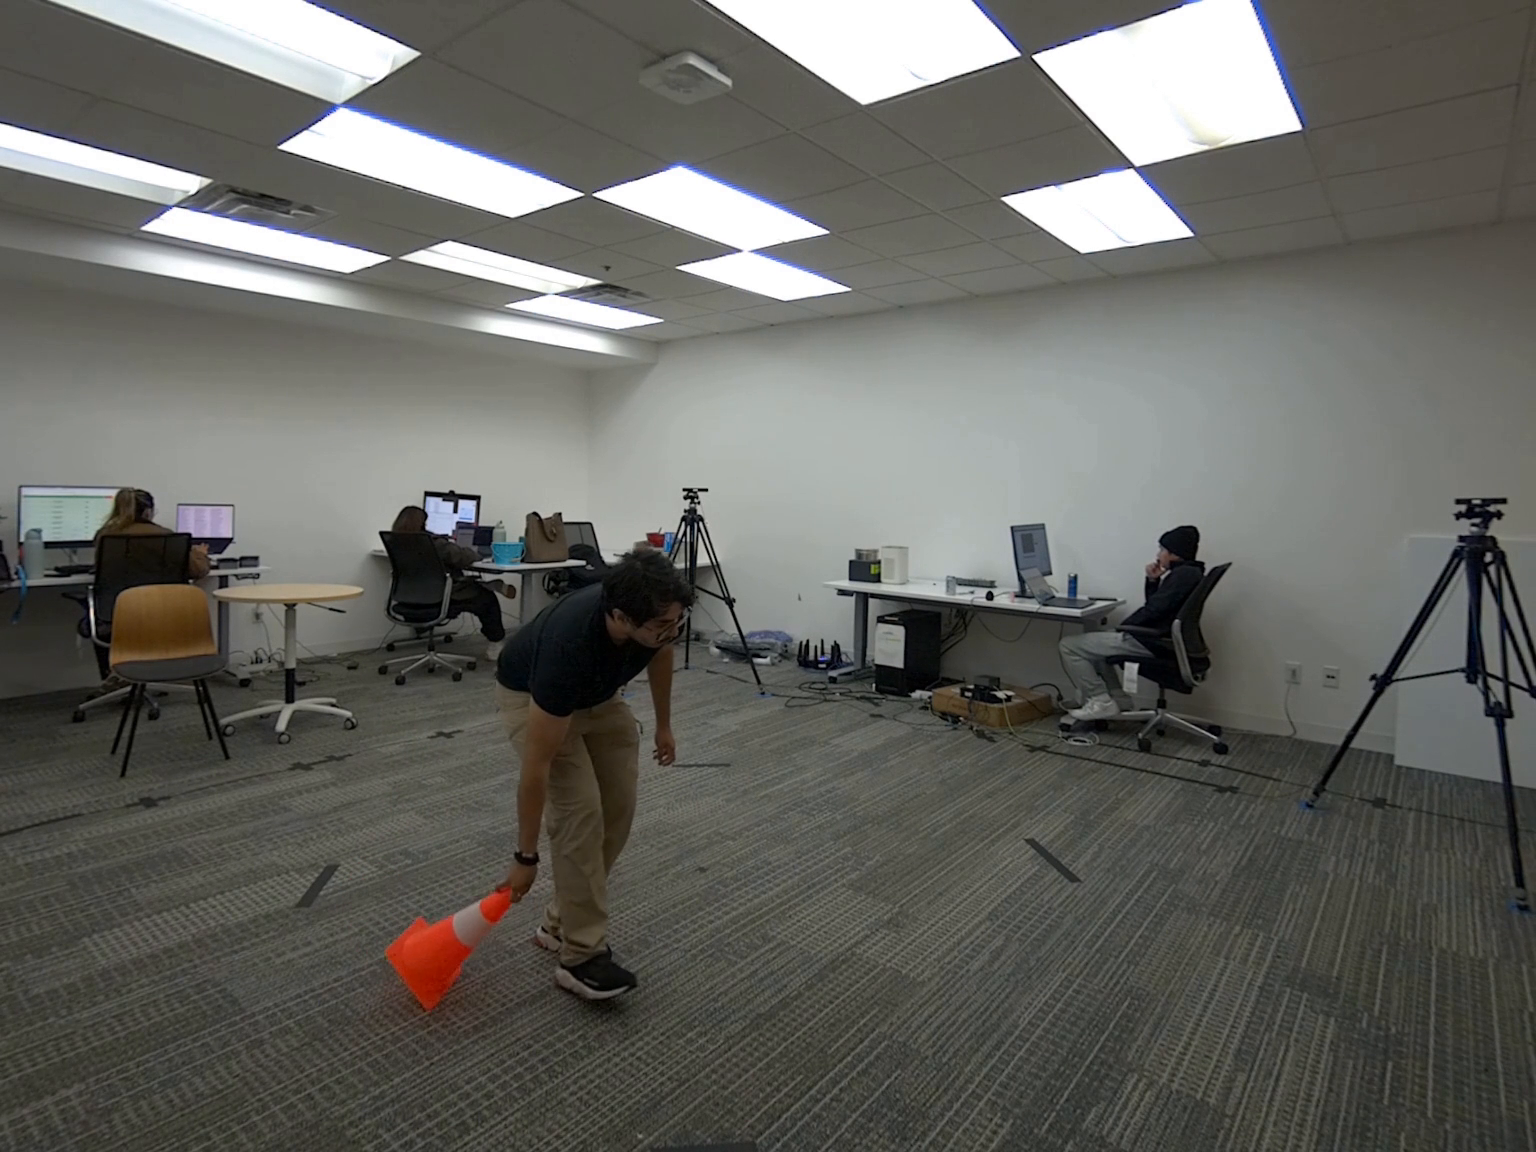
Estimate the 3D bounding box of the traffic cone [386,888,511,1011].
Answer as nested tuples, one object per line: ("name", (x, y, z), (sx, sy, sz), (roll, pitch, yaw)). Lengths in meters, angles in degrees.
("traffic cone", (-0.816, 0.947, 2.308), (0.384, 0.206, 0.202), (-41, -1, 12))
